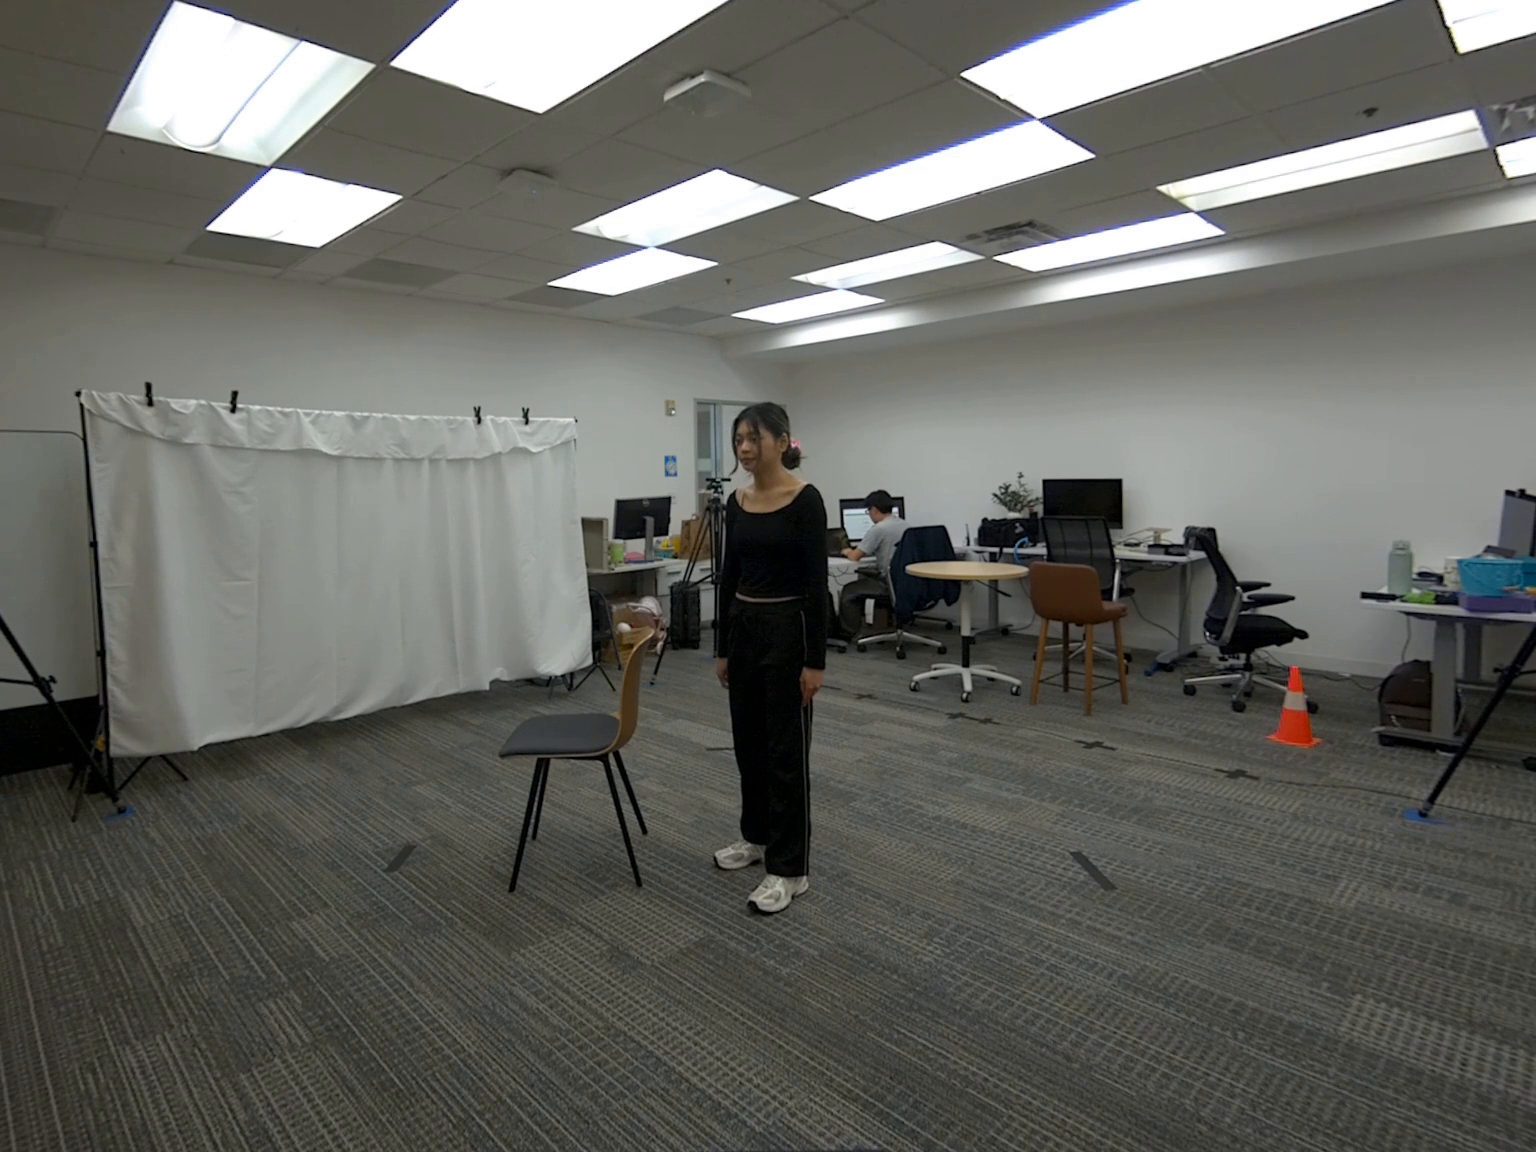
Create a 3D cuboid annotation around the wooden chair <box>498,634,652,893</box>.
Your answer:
[{"bbox_3d":[-0.692,0.626,3.107,0.521,0.874,0.482,2,4,-5],"label":"wooden chair"}]
